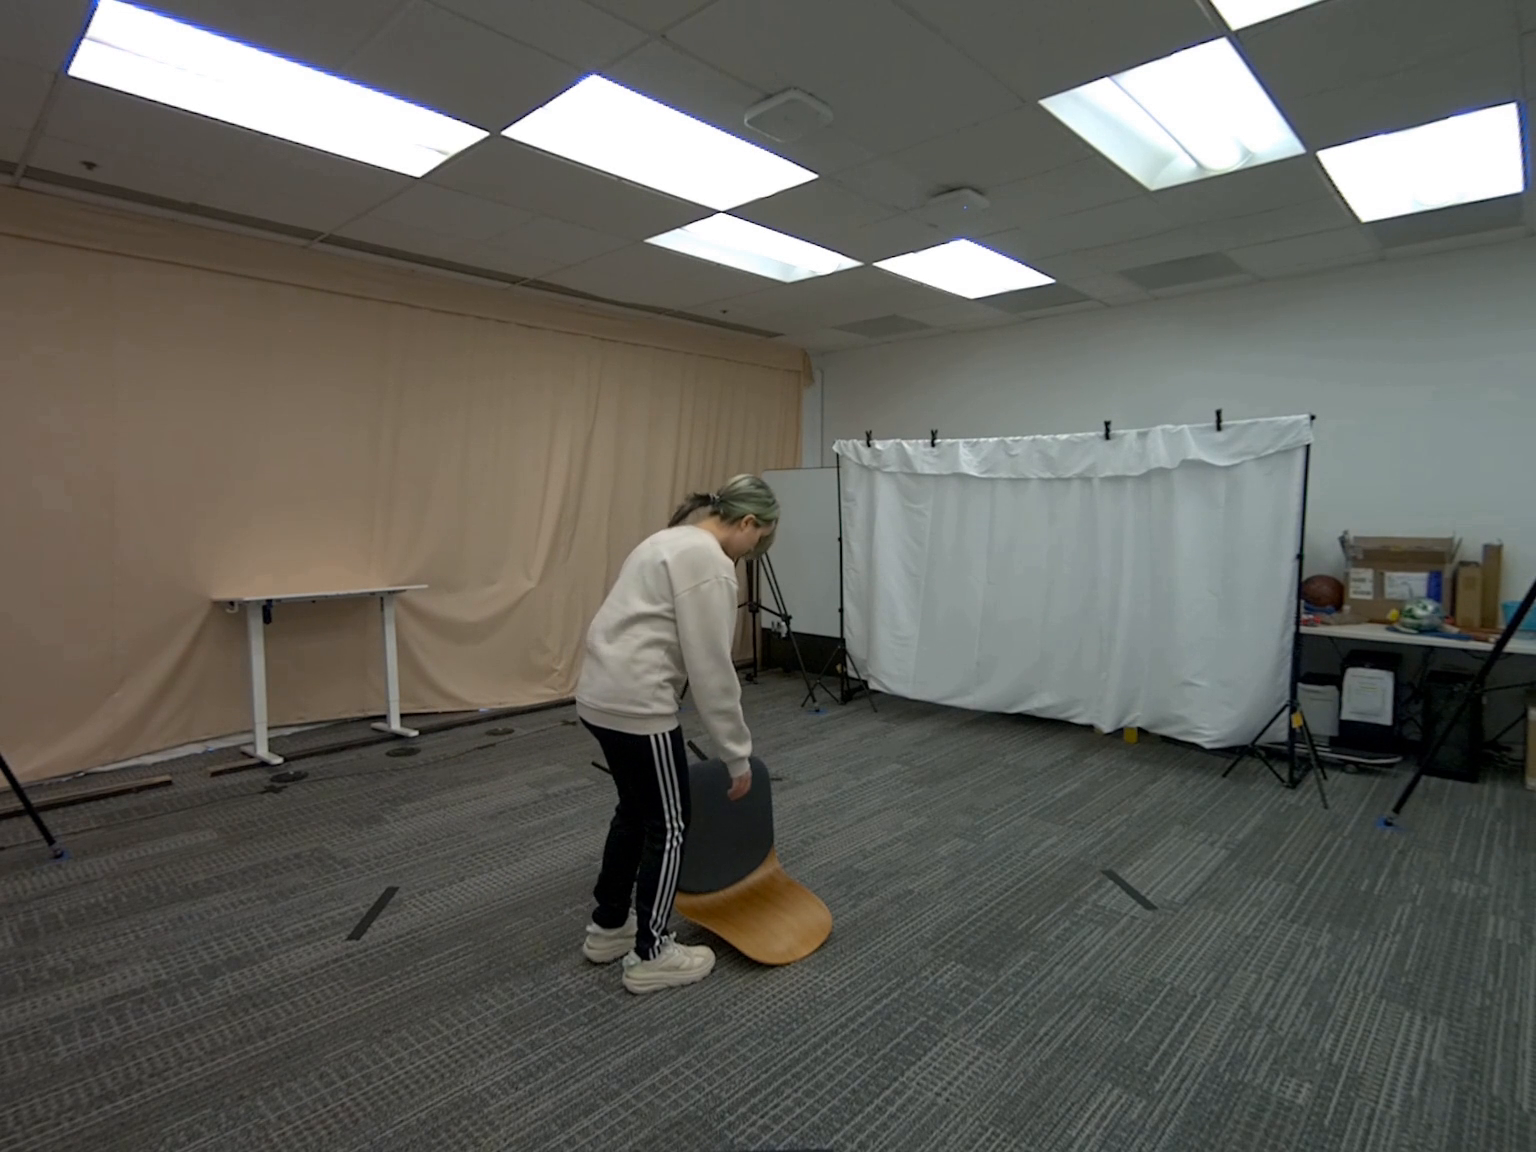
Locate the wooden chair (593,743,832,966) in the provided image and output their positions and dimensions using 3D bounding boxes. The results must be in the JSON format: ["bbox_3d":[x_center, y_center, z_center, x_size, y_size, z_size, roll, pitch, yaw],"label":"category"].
[{"bbox_3d":[-0.189,0.893,2.910,0.464,0.522,0.907,-3,6,-39],"label":"wooden chair"}]
